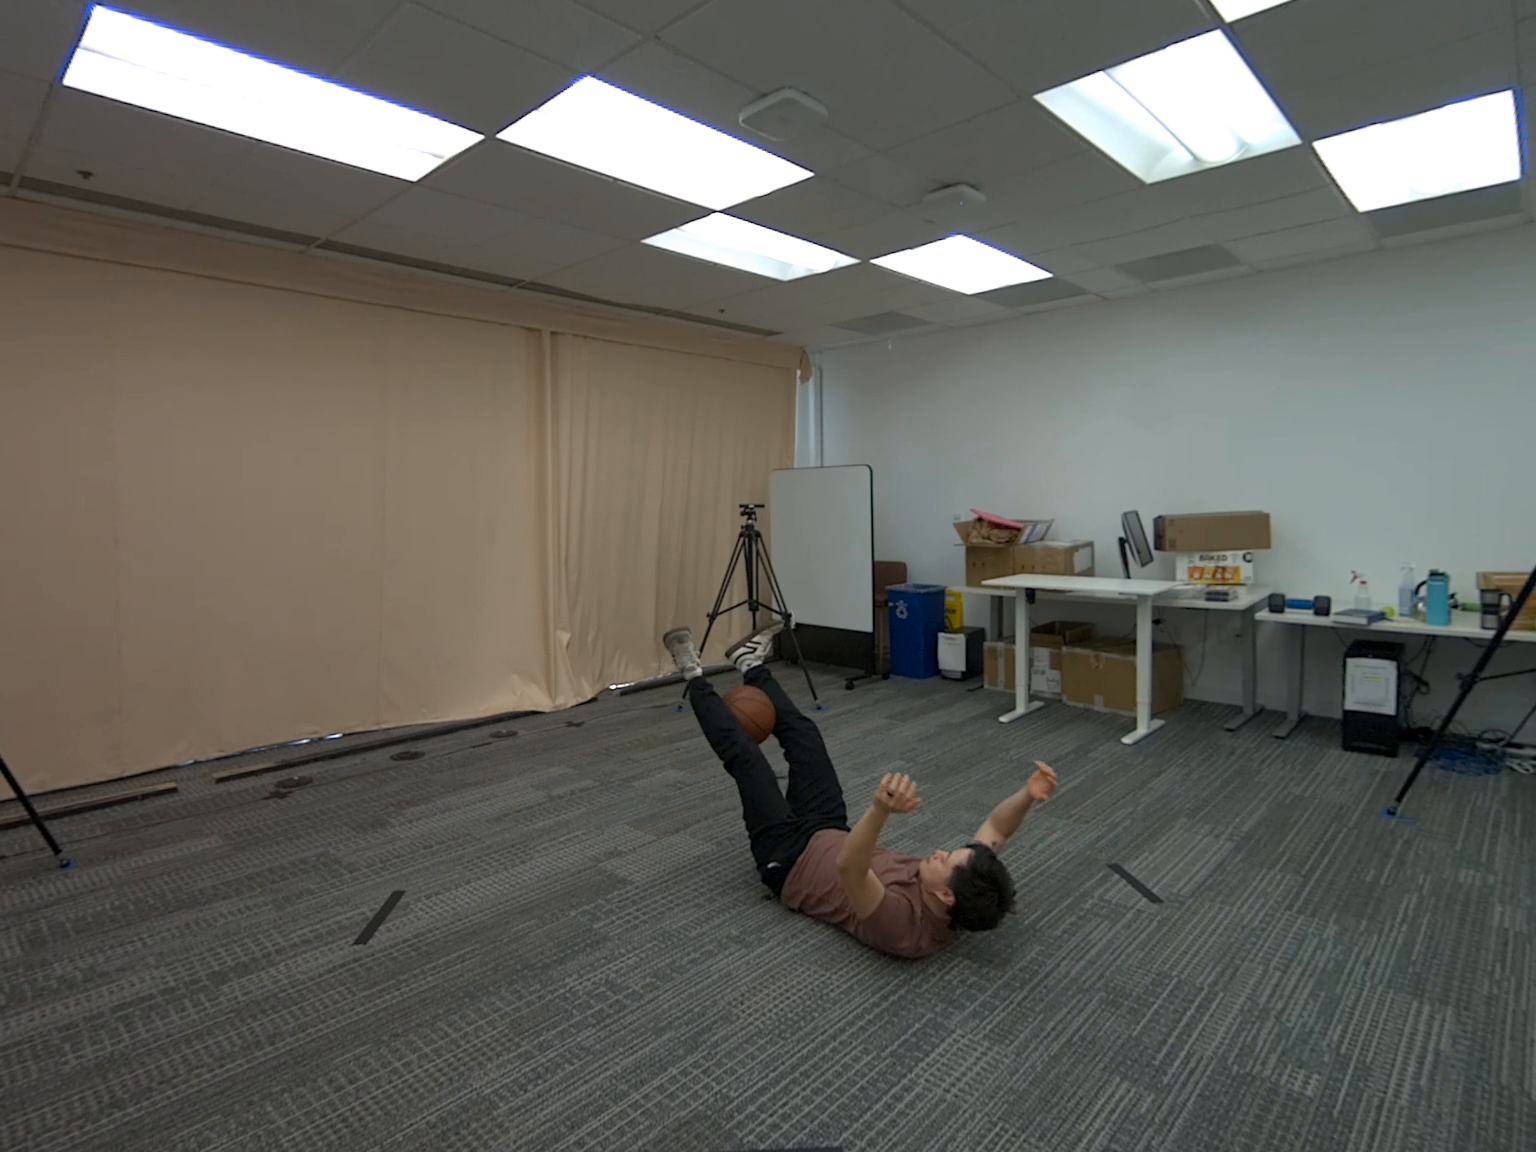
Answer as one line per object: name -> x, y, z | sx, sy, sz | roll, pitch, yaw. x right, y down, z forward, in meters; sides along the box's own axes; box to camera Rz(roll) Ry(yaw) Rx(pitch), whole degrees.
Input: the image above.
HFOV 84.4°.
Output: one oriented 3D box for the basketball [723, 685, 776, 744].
basketball -> -0.086, 0.552, 3.263 | 0.236, 0.235, 0.236 | -1, 3, -2
